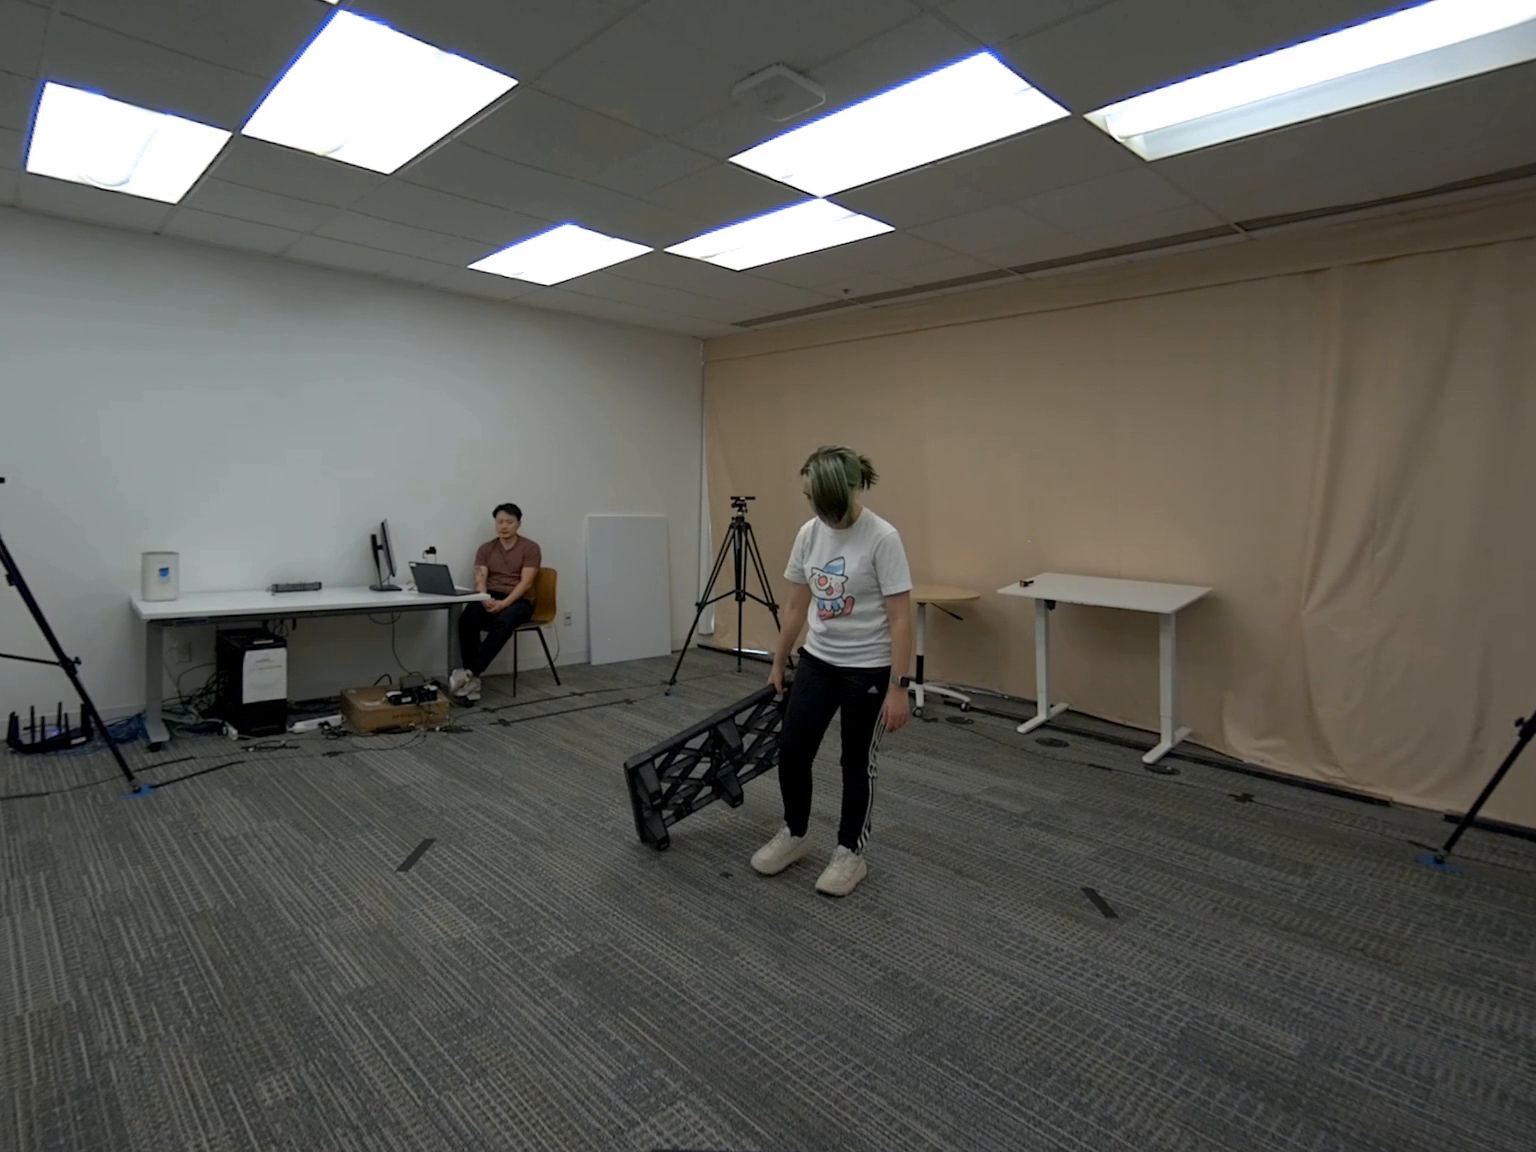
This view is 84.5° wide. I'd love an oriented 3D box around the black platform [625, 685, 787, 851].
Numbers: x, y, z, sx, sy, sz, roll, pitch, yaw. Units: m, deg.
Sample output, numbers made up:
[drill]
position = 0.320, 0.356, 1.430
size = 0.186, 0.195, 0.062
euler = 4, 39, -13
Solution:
[black platform]
position = -0.162, 0.738, 3.296
size = 0.799, 0.591, 0.148
euler = -25, 52, -20
